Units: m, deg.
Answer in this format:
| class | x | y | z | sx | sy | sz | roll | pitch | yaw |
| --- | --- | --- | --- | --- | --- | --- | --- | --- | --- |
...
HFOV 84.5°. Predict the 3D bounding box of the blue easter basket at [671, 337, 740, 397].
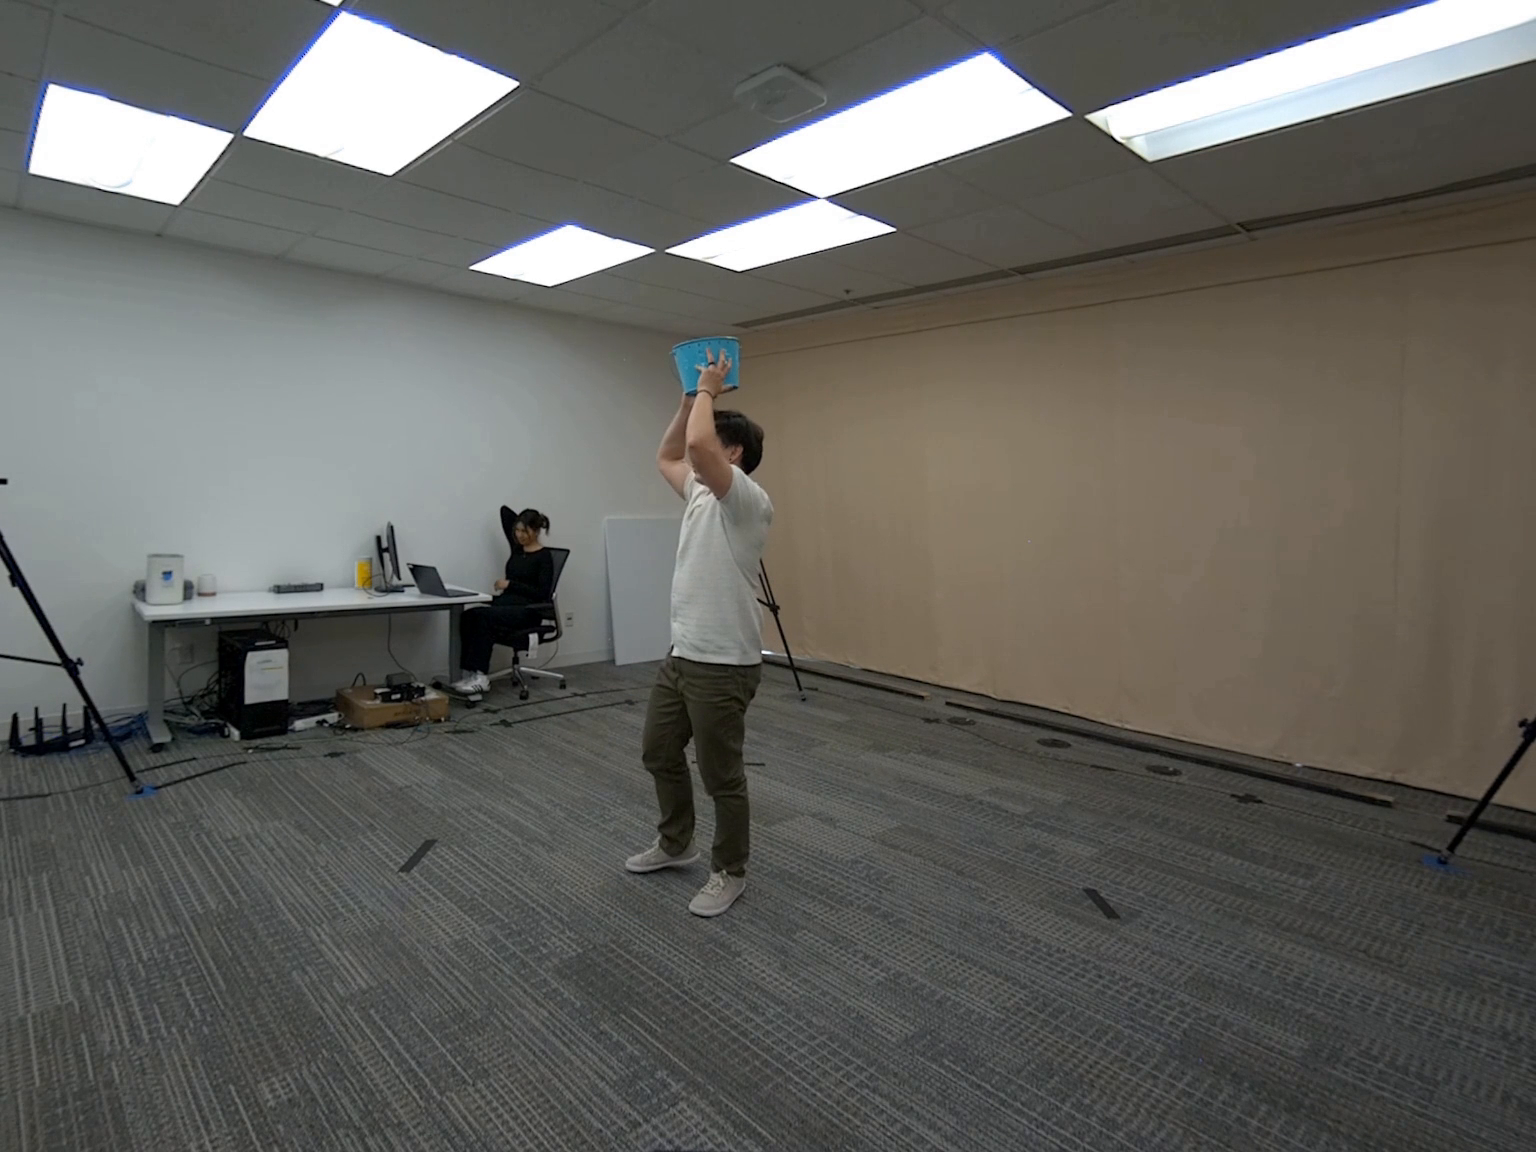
| class | x | y | z | sx | sy | sz | roll | pitch | yaw |
| --- | --- | --- | --- | --- | --- | --- | --- | --- | --- |
| blue easter basket | -0.212 | -0.689 | 2.795 | 0.243 | 0.156 | 0.244 | -9 | 2 | -1 |
